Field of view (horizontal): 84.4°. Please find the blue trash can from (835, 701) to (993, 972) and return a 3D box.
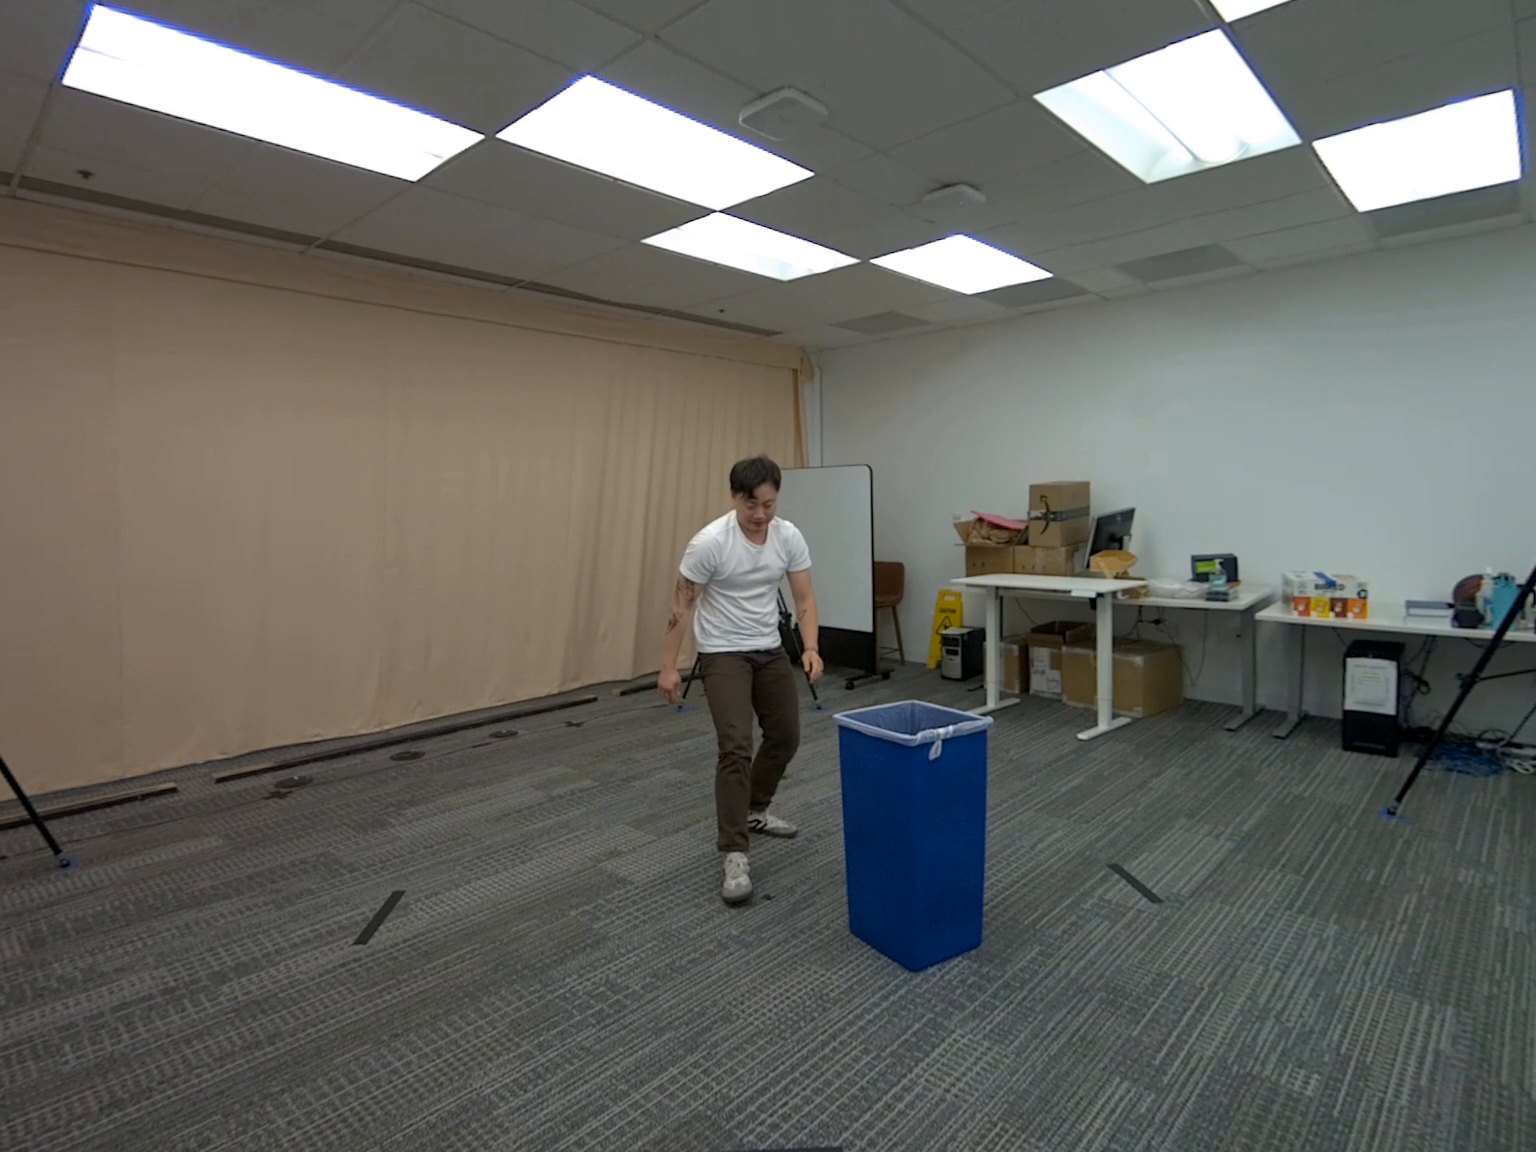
[{"bbox_3d":[0.471,0.799,2.674,0.363,0.712,0.389,-3,3,-34],"label":"blue trash can"}]
